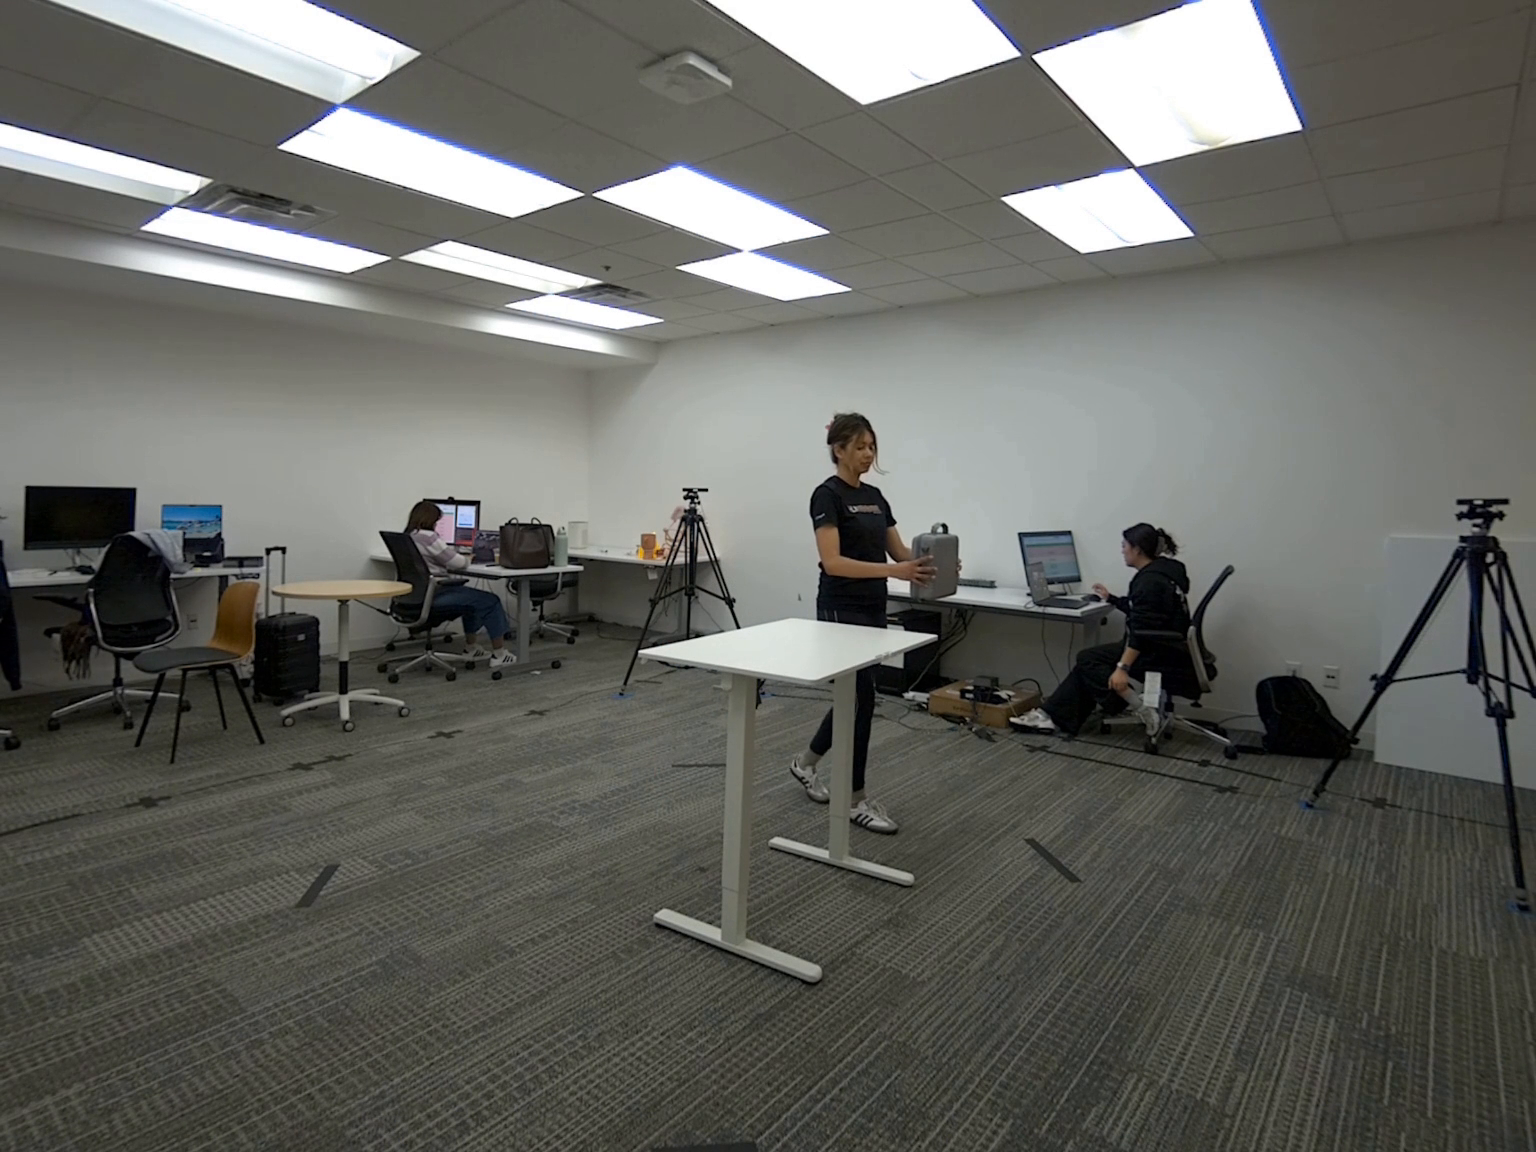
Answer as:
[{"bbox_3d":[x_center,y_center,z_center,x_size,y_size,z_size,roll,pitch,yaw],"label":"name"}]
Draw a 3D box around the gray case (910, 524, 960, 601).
[{"bbox_3d":[0.653,-0.048,3.352,0.108,0.259,0.250,4,6,34],"label":"gray case"}]
